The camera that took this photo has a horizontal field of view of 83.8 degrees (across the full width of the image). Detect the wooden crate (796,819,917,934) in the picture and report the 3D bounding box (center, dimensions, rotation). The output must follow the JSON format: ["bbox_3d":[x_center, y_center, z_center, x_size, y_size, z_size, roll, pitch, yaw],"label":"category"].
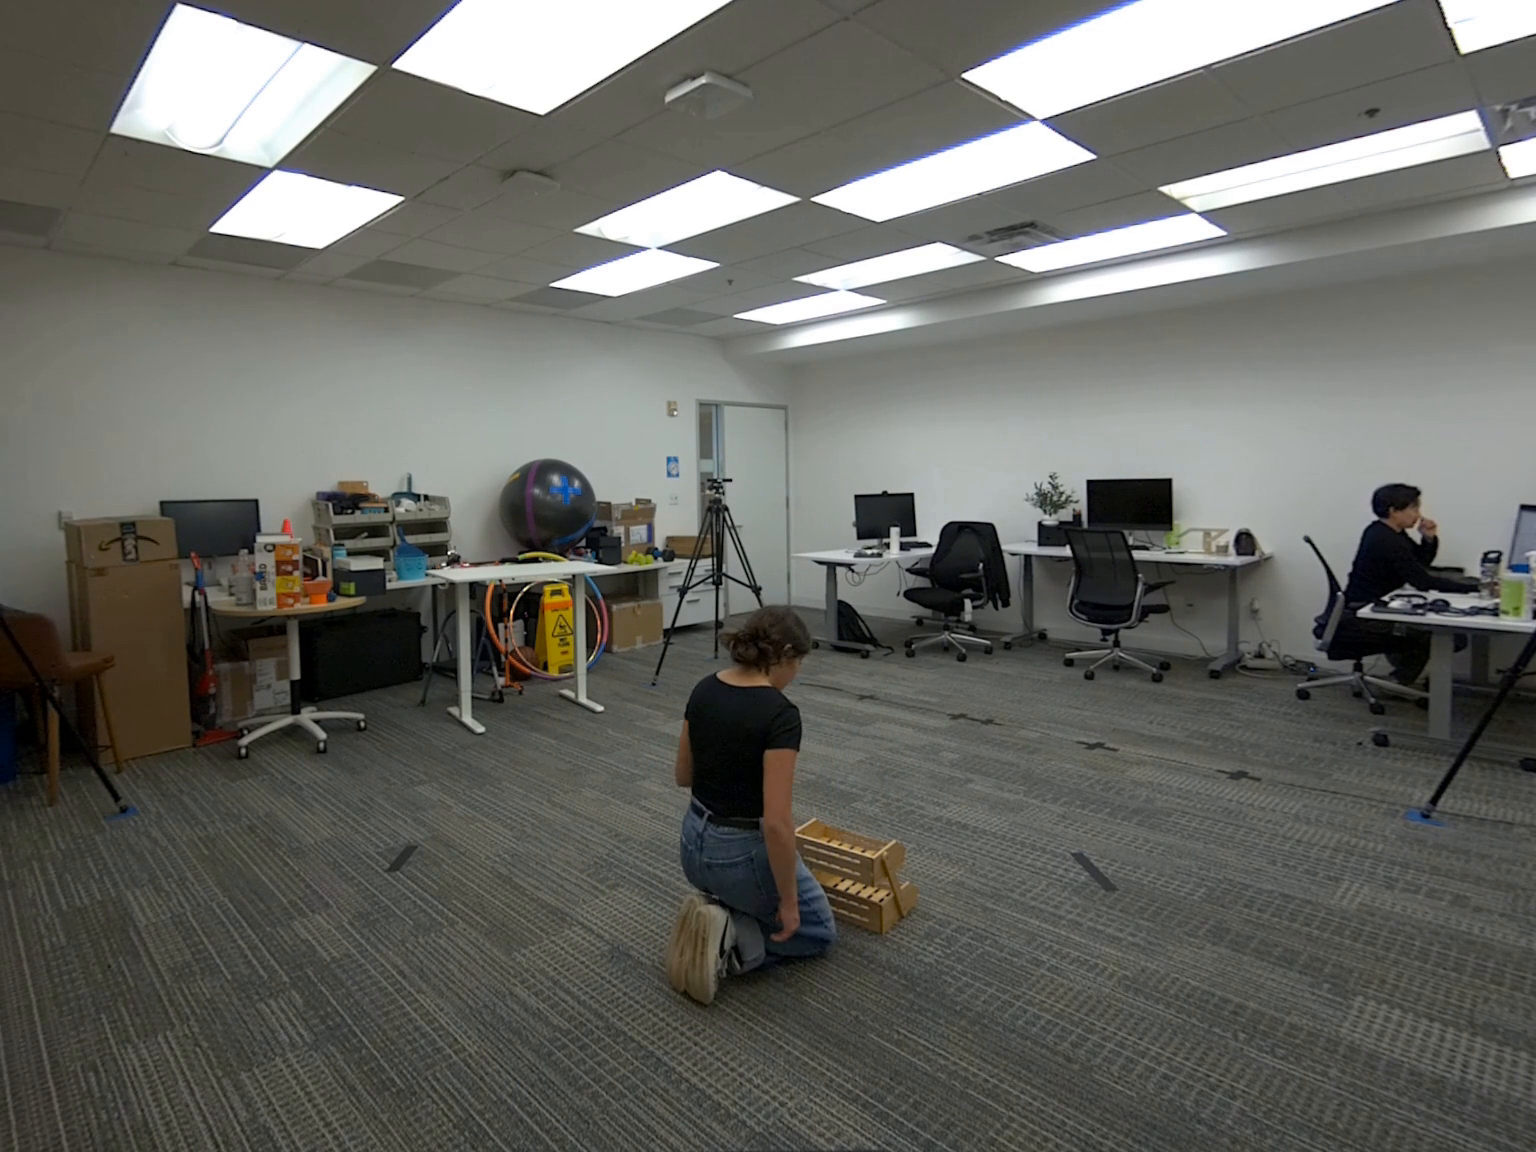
[{"bbox_3d":[0.290,0.945,2.770,0.334,0.272,0.295,3,7,37],"label":"wooden crate"}]
